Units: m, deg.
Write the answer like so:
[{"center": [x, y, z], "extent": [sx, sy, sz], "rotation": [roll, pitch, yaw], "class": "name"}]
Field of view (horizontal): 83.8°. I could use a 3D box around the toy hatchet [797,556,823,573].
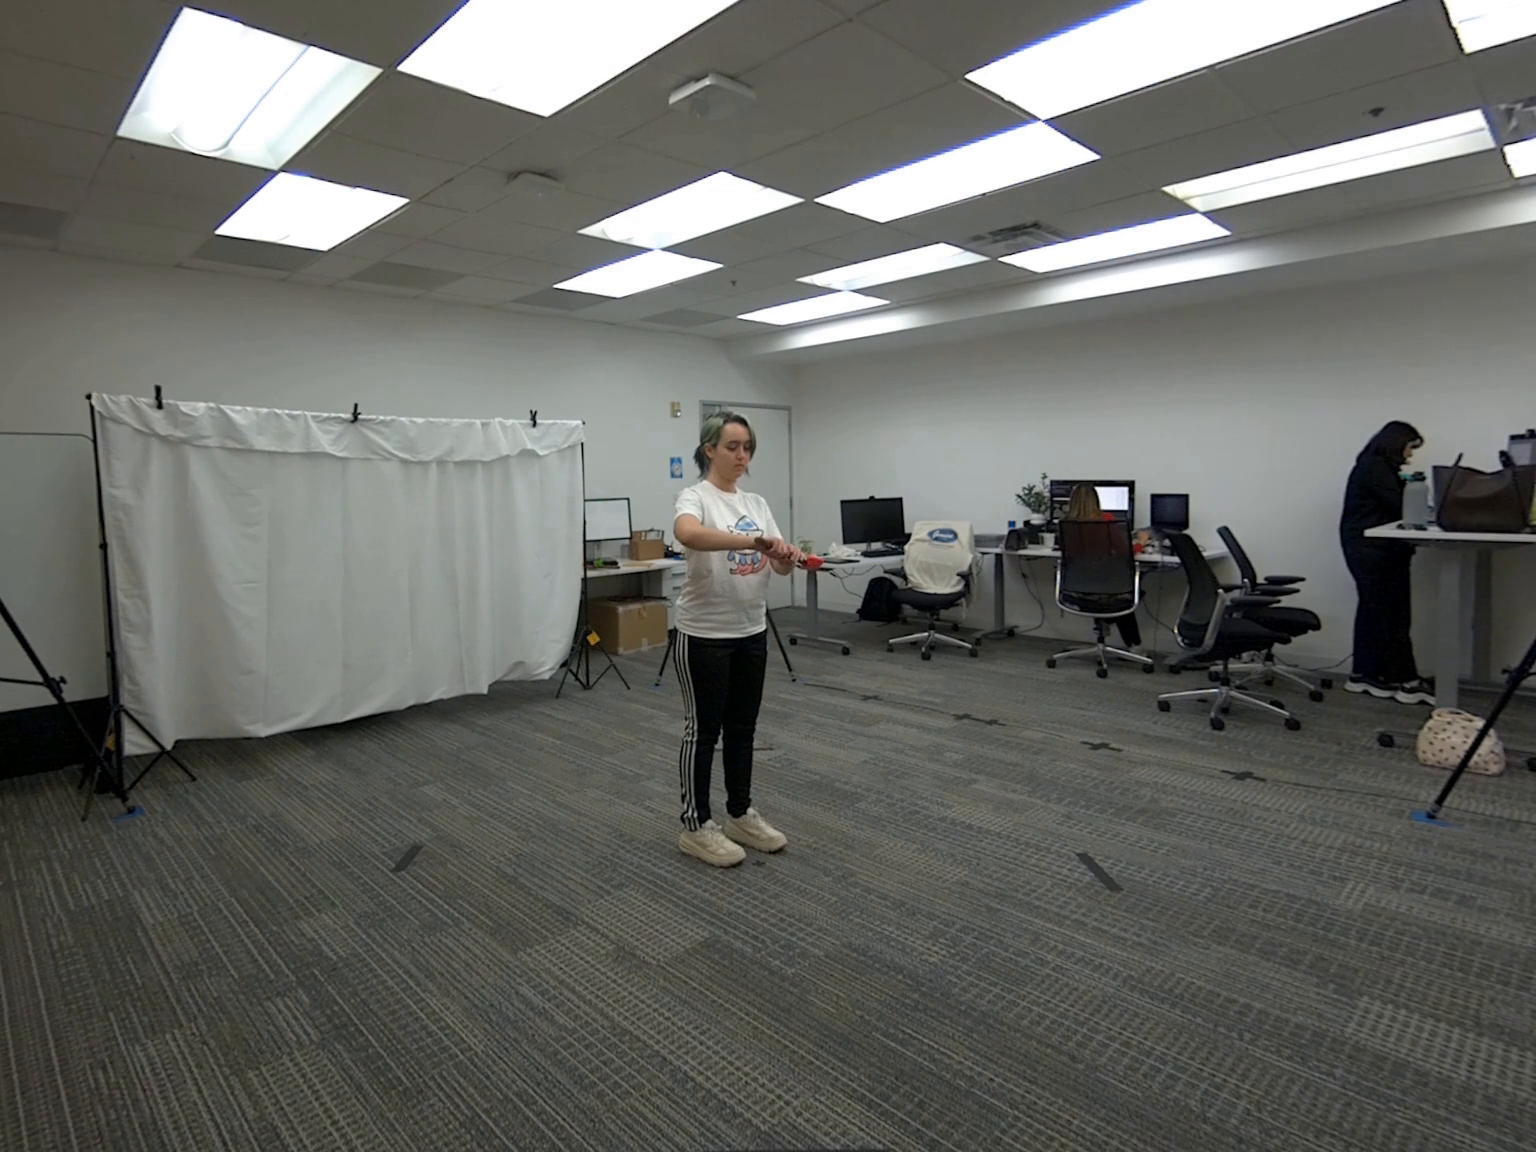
[{"center": [0.079, -0.065, 2.829], "extent": [0.134, 0.030, 0.260], "rotation": [-6, -21, 42], "class": "toy hatchet"}]
